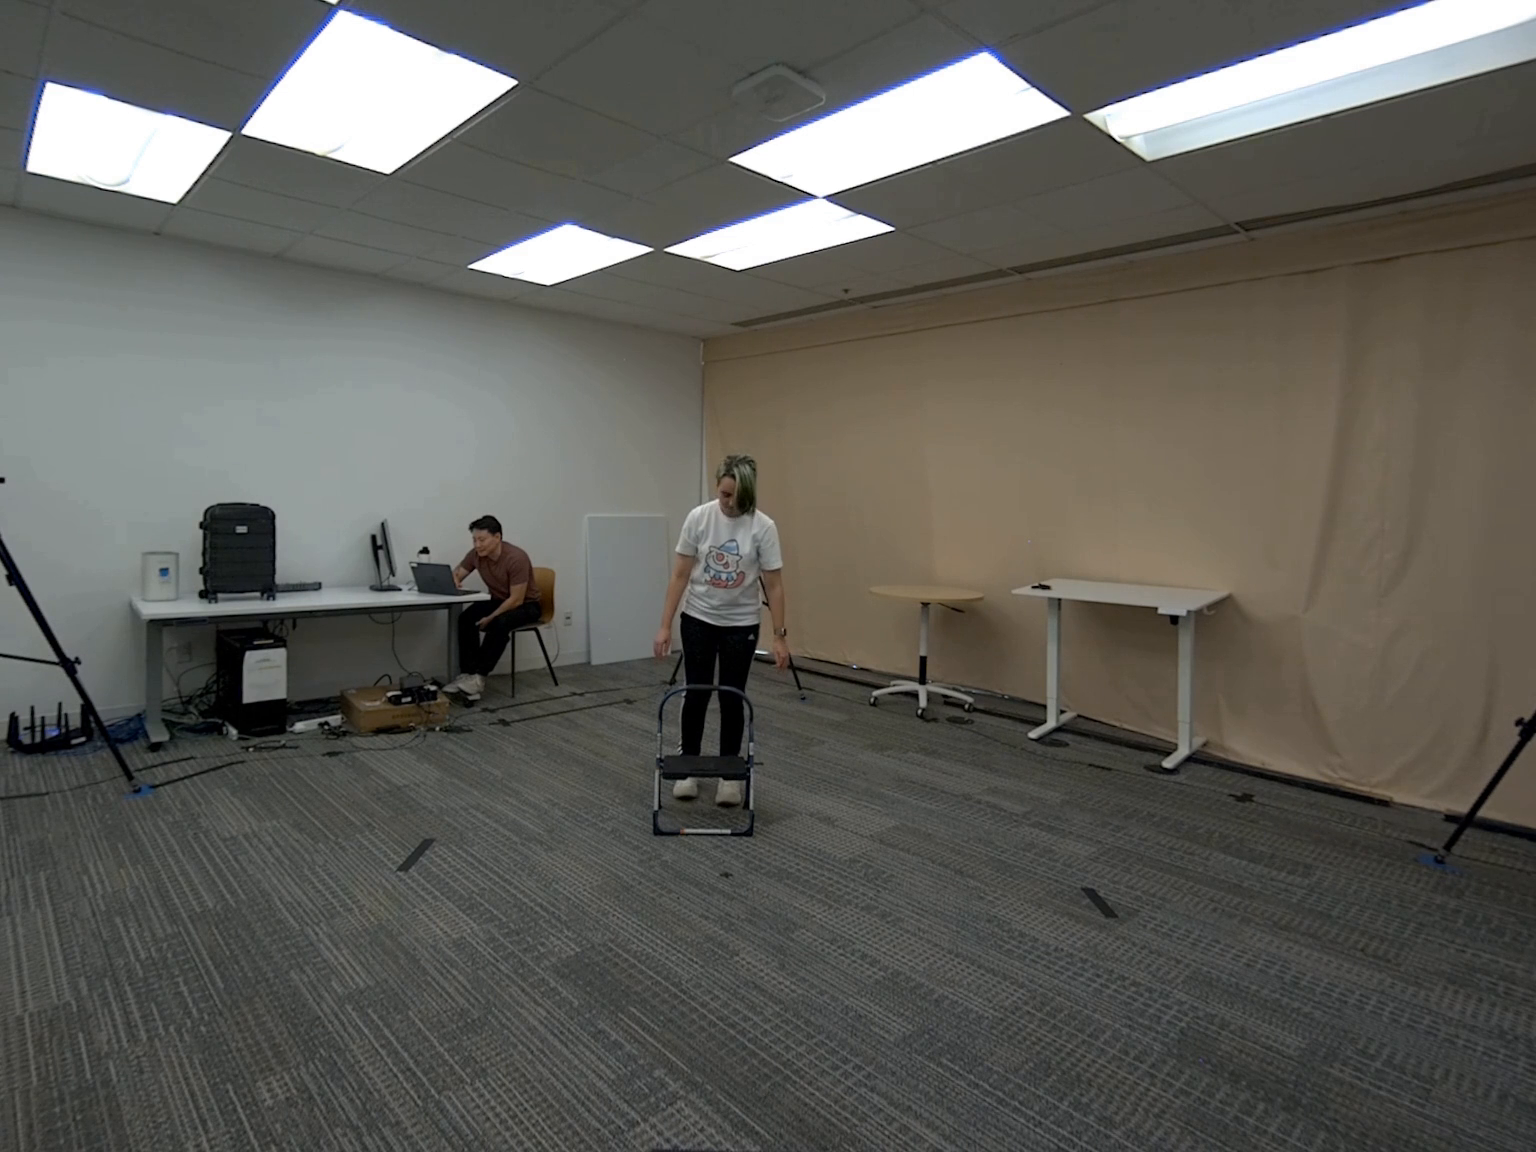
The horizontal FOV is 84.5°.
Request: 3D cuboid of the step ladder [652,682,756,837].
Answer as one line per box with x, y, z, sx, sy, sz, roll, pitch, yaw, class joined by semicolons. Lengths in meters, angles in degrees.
-0.286;0.758;3.615;0.429;0.605;0.351;1;3;-4;step ladder
